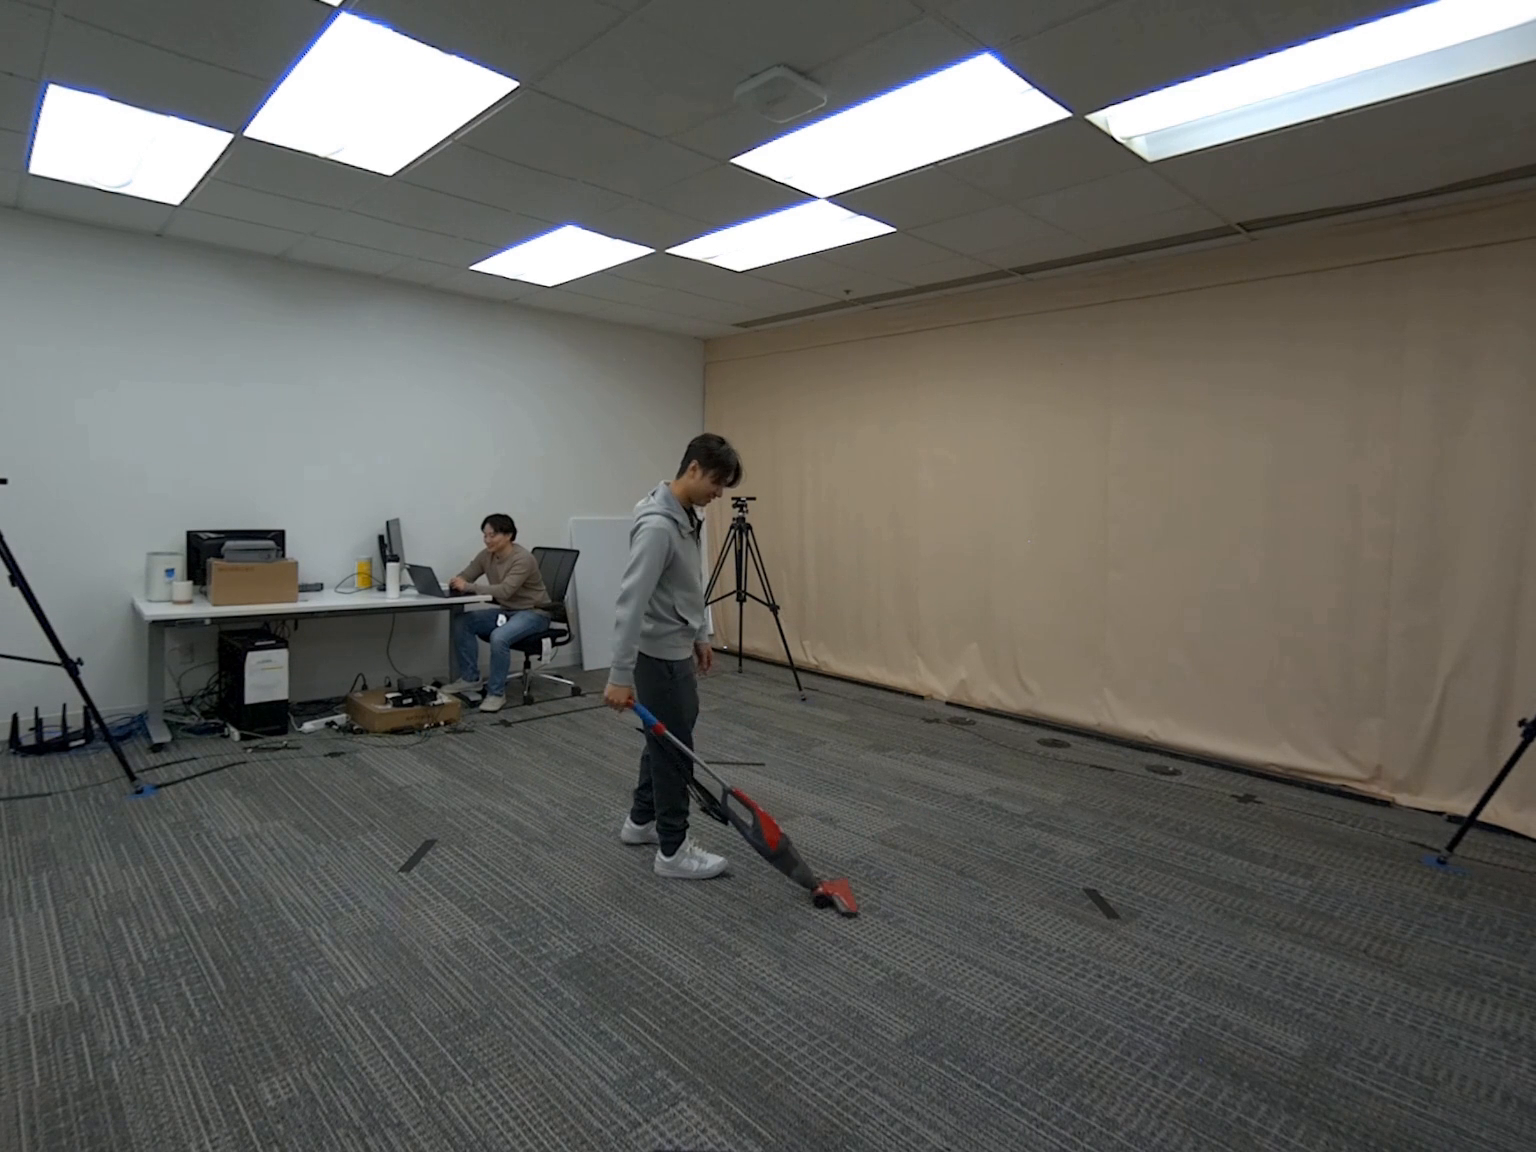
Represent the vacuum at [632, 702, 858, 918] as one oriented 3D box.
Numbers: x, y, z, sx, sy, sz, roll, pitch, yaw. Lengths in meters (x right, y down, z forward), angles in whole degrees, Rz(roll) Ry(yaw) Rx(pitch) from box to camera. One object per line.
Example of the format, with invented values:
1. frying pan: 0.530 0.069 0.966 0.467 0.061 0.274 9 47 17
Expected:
1. vacuum: -0.160 0.768 2.916 1.046 0.144 0.253 41 3 -3
